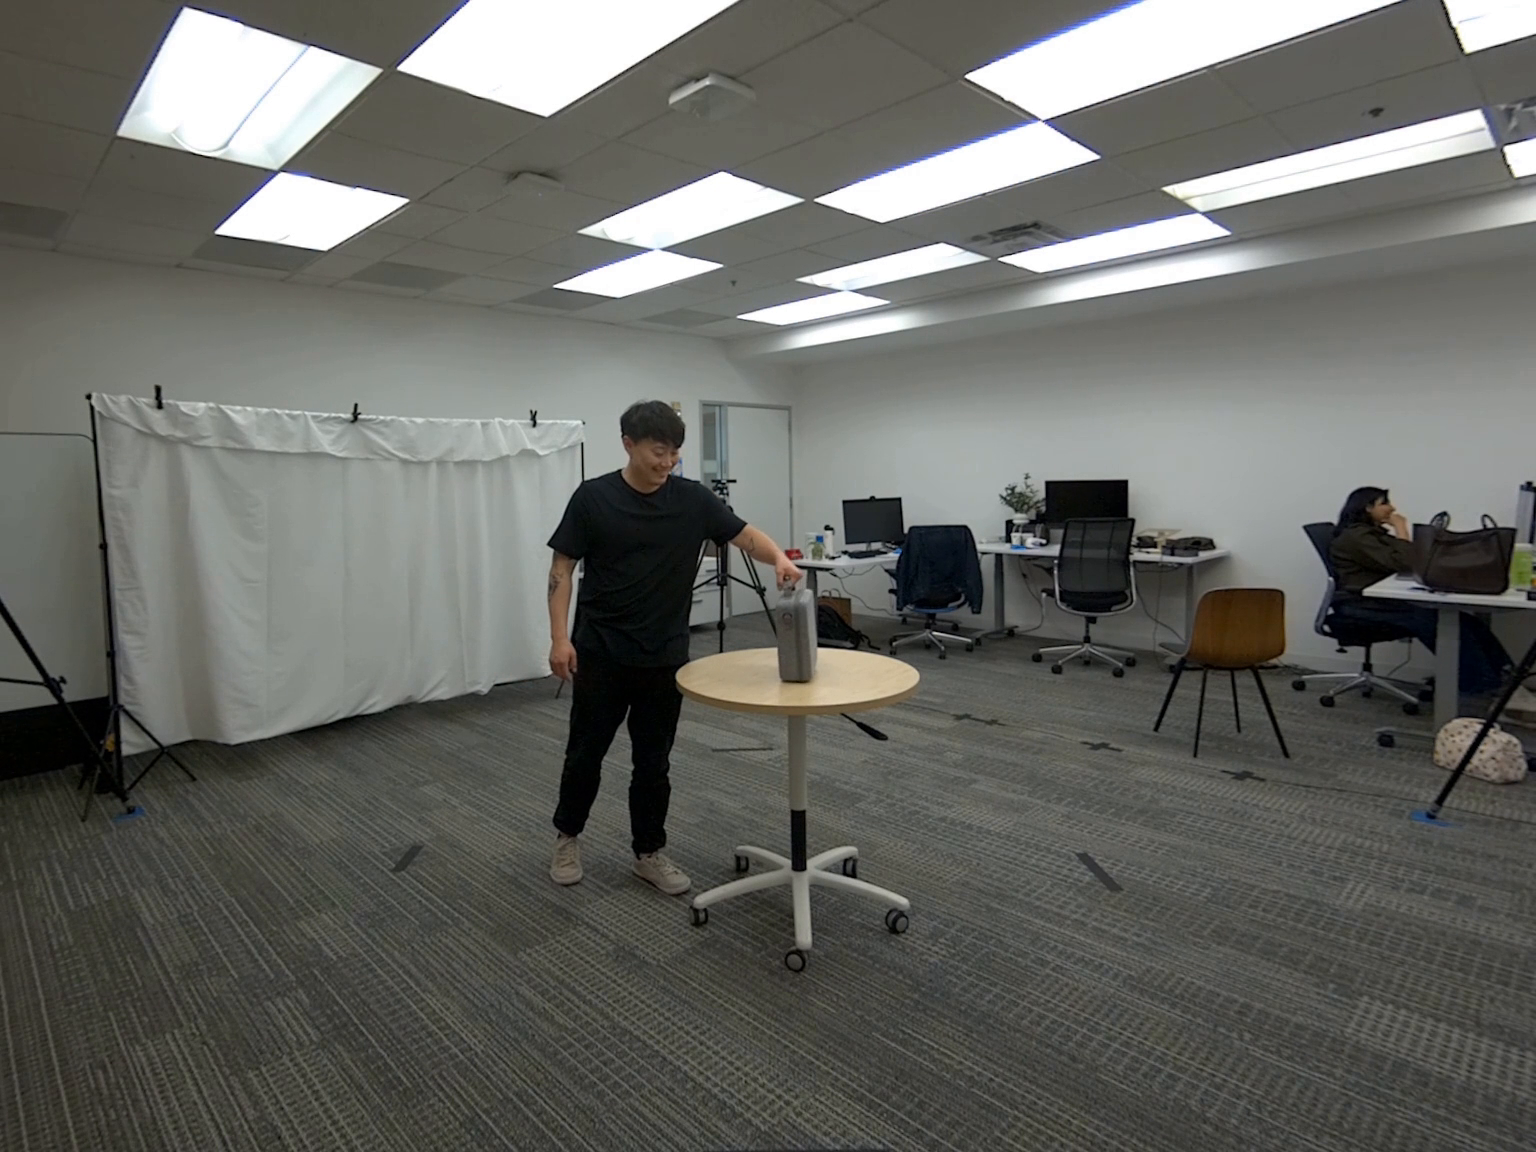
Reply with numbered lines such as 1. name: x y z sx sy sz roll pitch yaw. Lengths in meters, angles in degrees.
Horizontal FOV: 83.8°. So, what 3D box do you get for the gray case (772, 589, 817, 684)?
1. gray case: 0.093 0.176 2.673 0.105 0.259 0.256 -3 6 7
